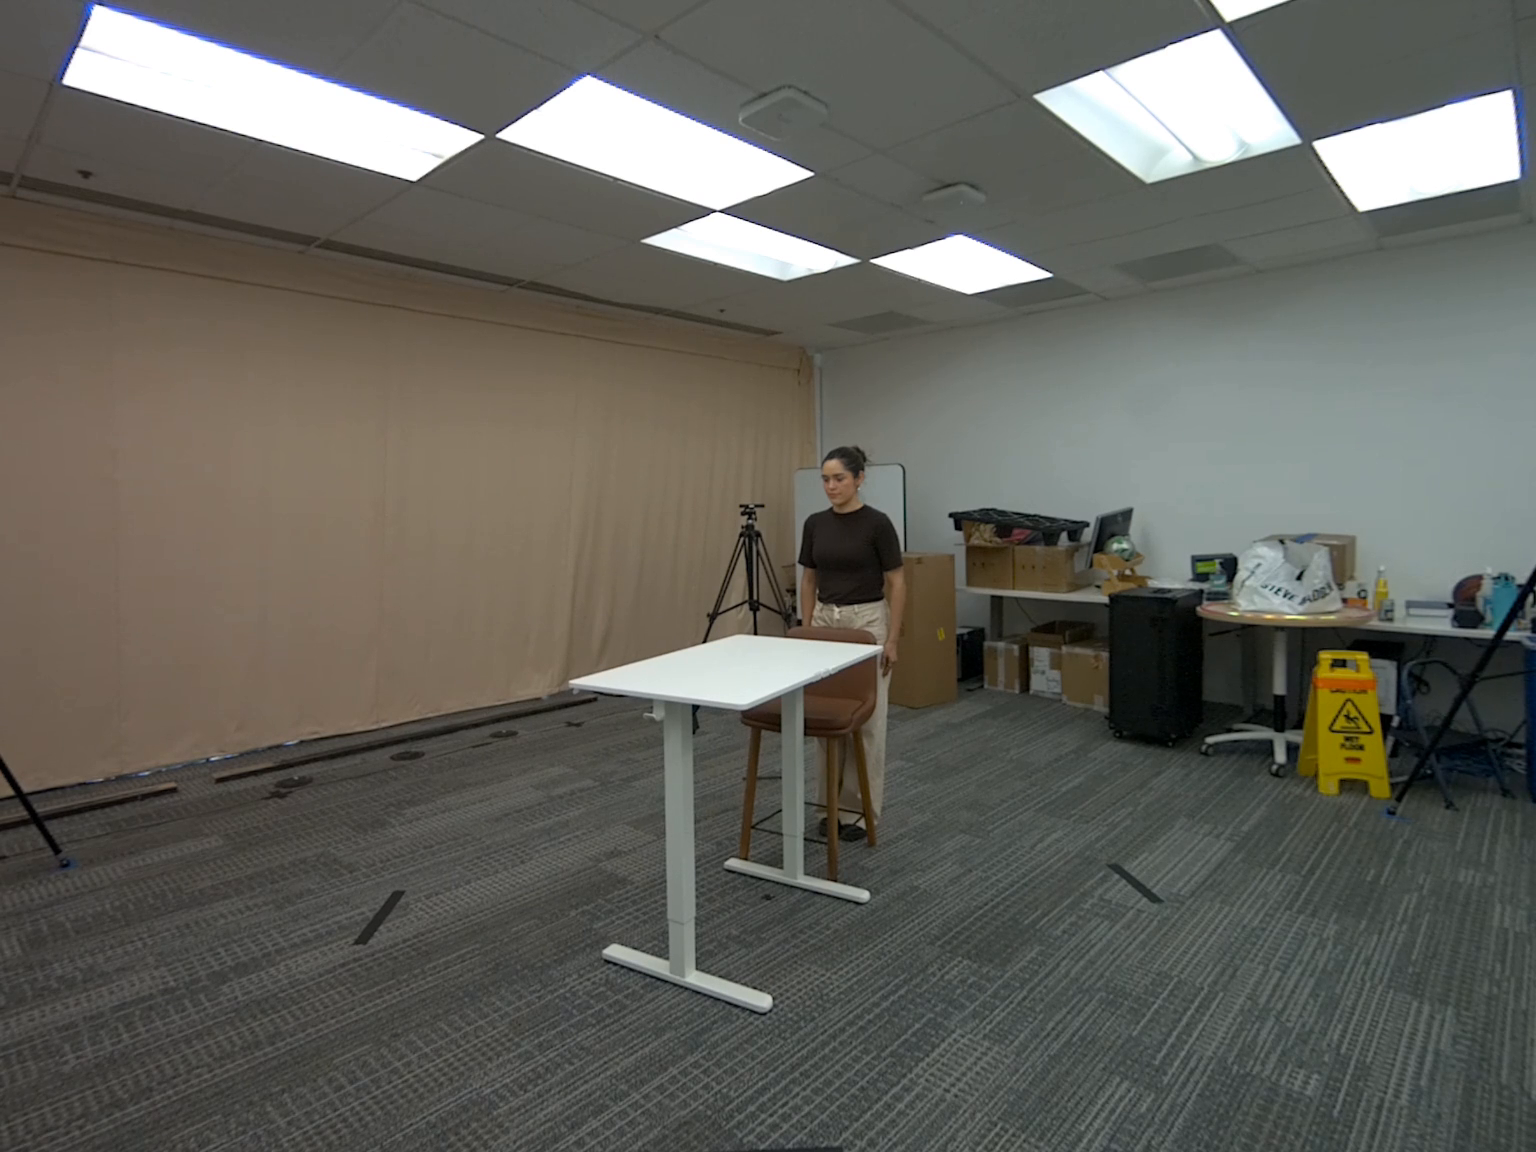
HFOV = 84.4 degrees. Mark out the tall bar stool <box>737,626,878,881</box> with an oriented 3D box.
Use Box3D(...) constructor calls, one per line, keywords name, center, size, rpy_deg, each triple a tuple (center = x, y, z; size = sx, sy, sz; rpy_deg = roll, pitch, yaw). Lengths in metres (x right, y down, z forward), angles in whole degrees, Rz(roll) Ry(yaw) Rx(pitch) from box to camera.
Box3D(name="tall bar stool", center=(0.169, 0.666, 3.320), size=(0.470, 0.889, 0.454), rpy_deg=(1, 1, 32))
